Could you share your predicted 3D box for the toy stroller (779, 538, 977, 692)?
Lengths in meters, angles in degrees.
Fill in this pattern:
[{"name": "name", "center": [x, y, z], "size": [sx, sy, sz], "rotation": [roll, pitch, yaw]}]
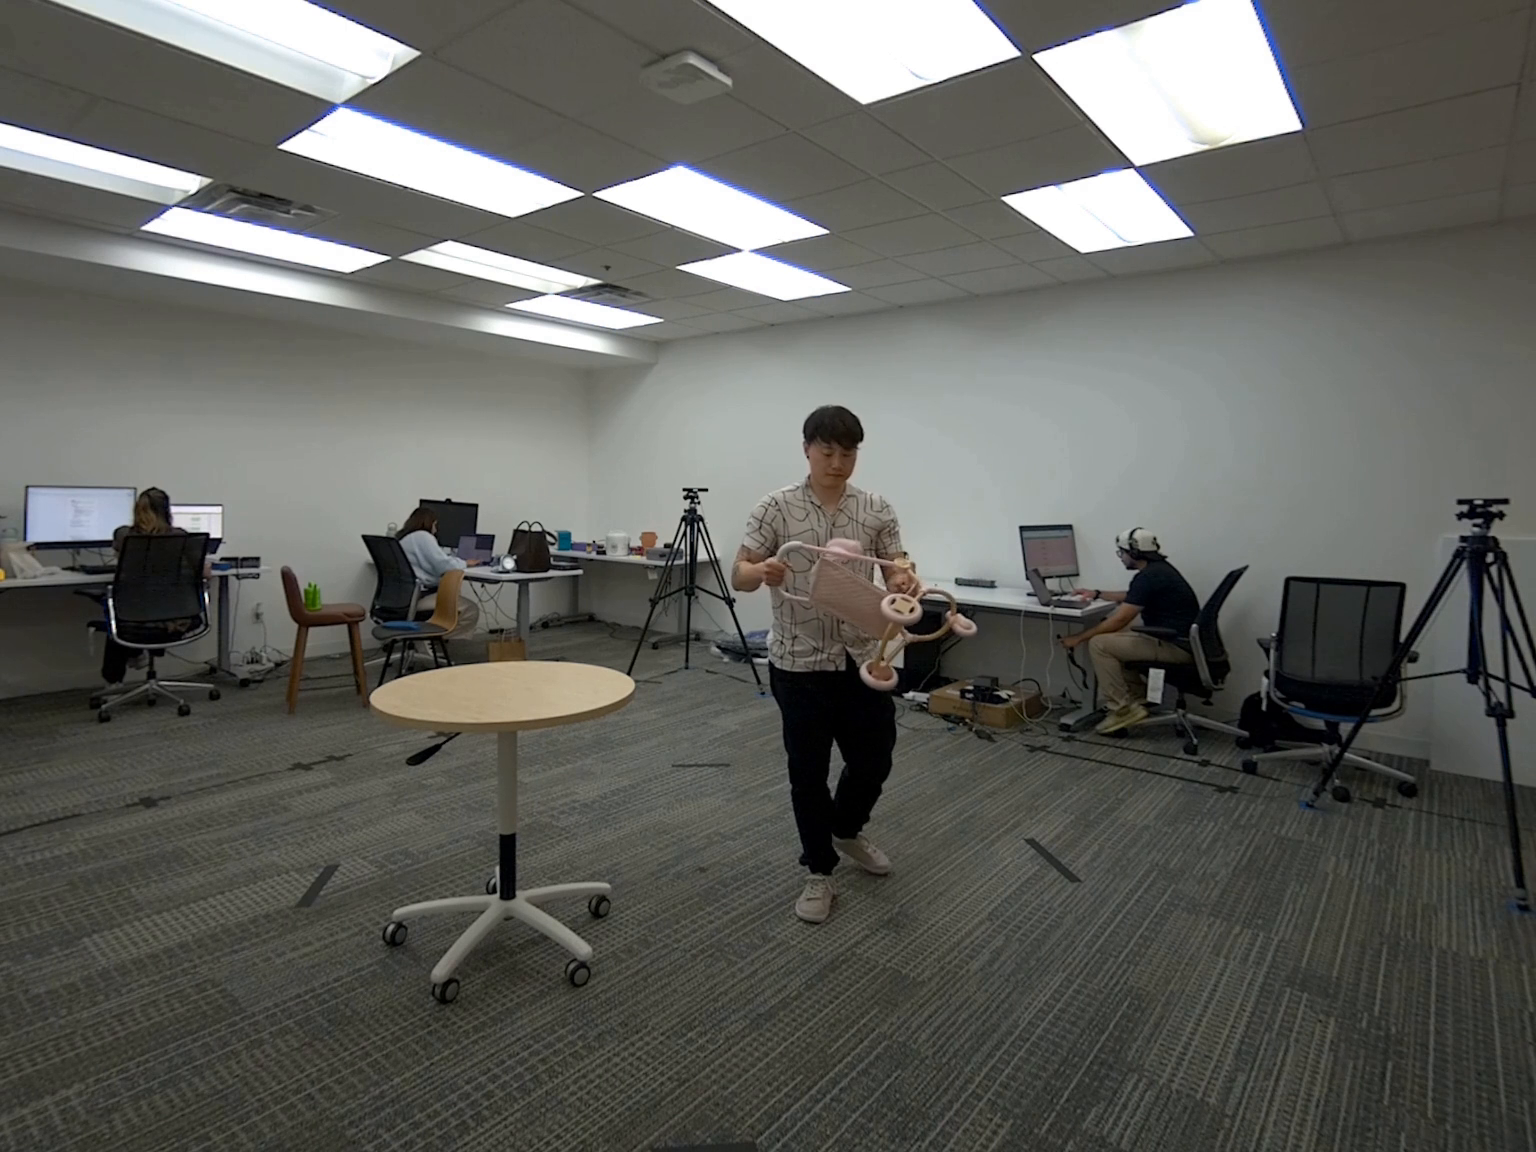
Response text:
[{"name": "toy stroller", "center": [0.313, 0.057, 2.500], "size": [0.336, 0.274, 0.557], "rotation": [-25, 48, -33]}]
